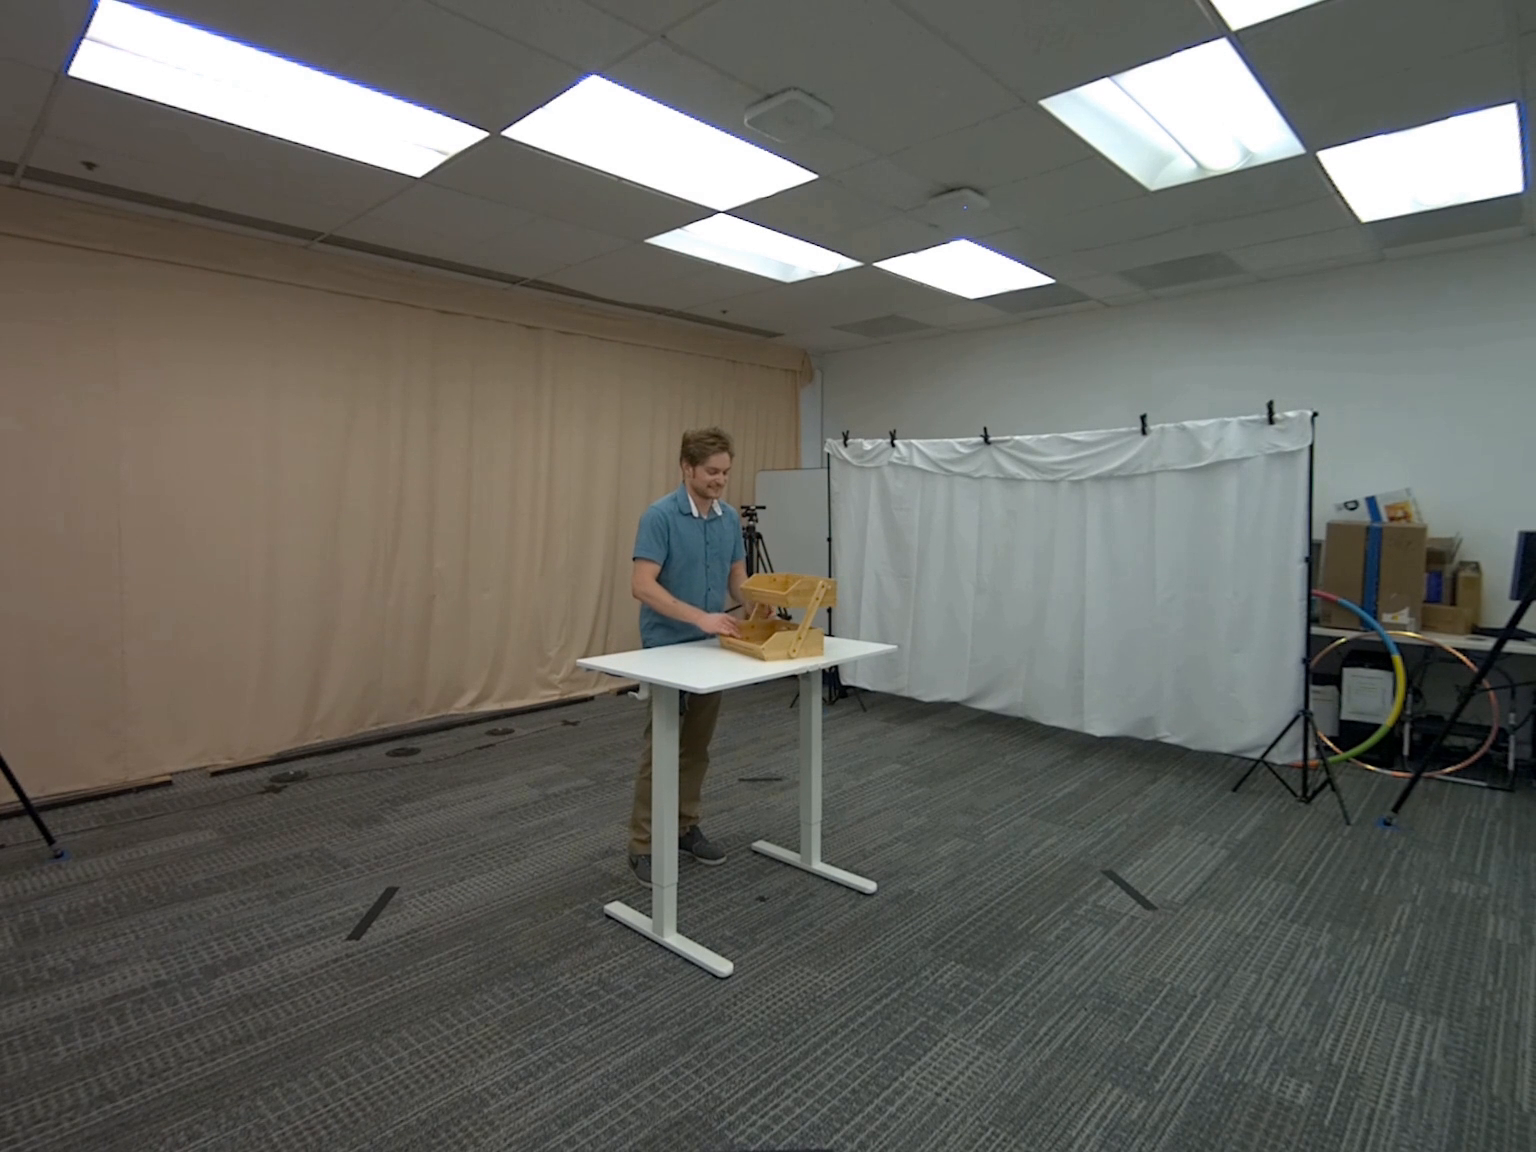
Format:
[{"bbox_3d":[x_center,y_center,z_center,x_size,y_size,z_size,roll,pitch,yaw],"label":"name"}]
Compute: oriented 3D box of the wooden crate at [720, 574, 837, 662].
[{"bbox_3d":[0.032,0.132,2.944,0.294,0.273,0.334,-1,4,-31],"label":"wooden crate"}]
